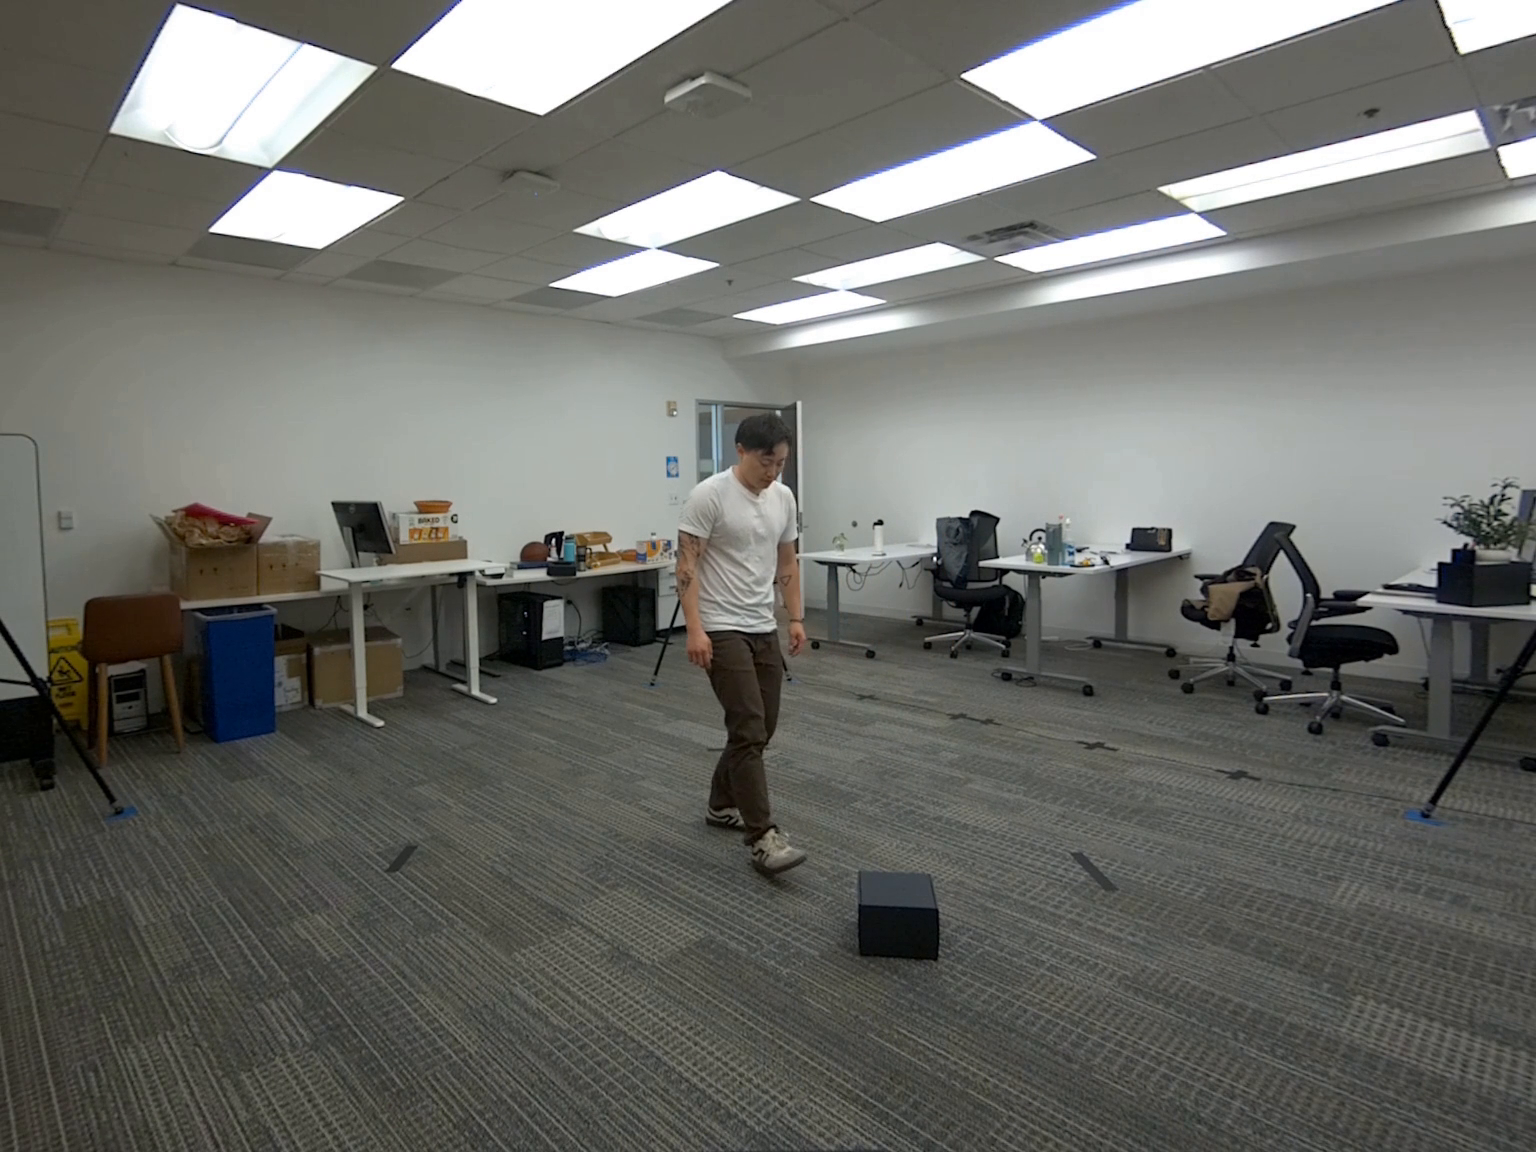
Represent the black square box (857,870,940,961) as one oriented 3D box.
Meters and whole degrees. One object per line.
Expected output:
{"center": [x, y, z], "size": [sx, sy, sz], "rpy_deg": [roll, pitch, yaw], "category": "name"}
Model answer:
{"center": [0.392, 1.012, 2.576], "size": [0.229, 0.155, 0.216], "rpy_deg": [-1, 6, 7], "category": "black square box"}
